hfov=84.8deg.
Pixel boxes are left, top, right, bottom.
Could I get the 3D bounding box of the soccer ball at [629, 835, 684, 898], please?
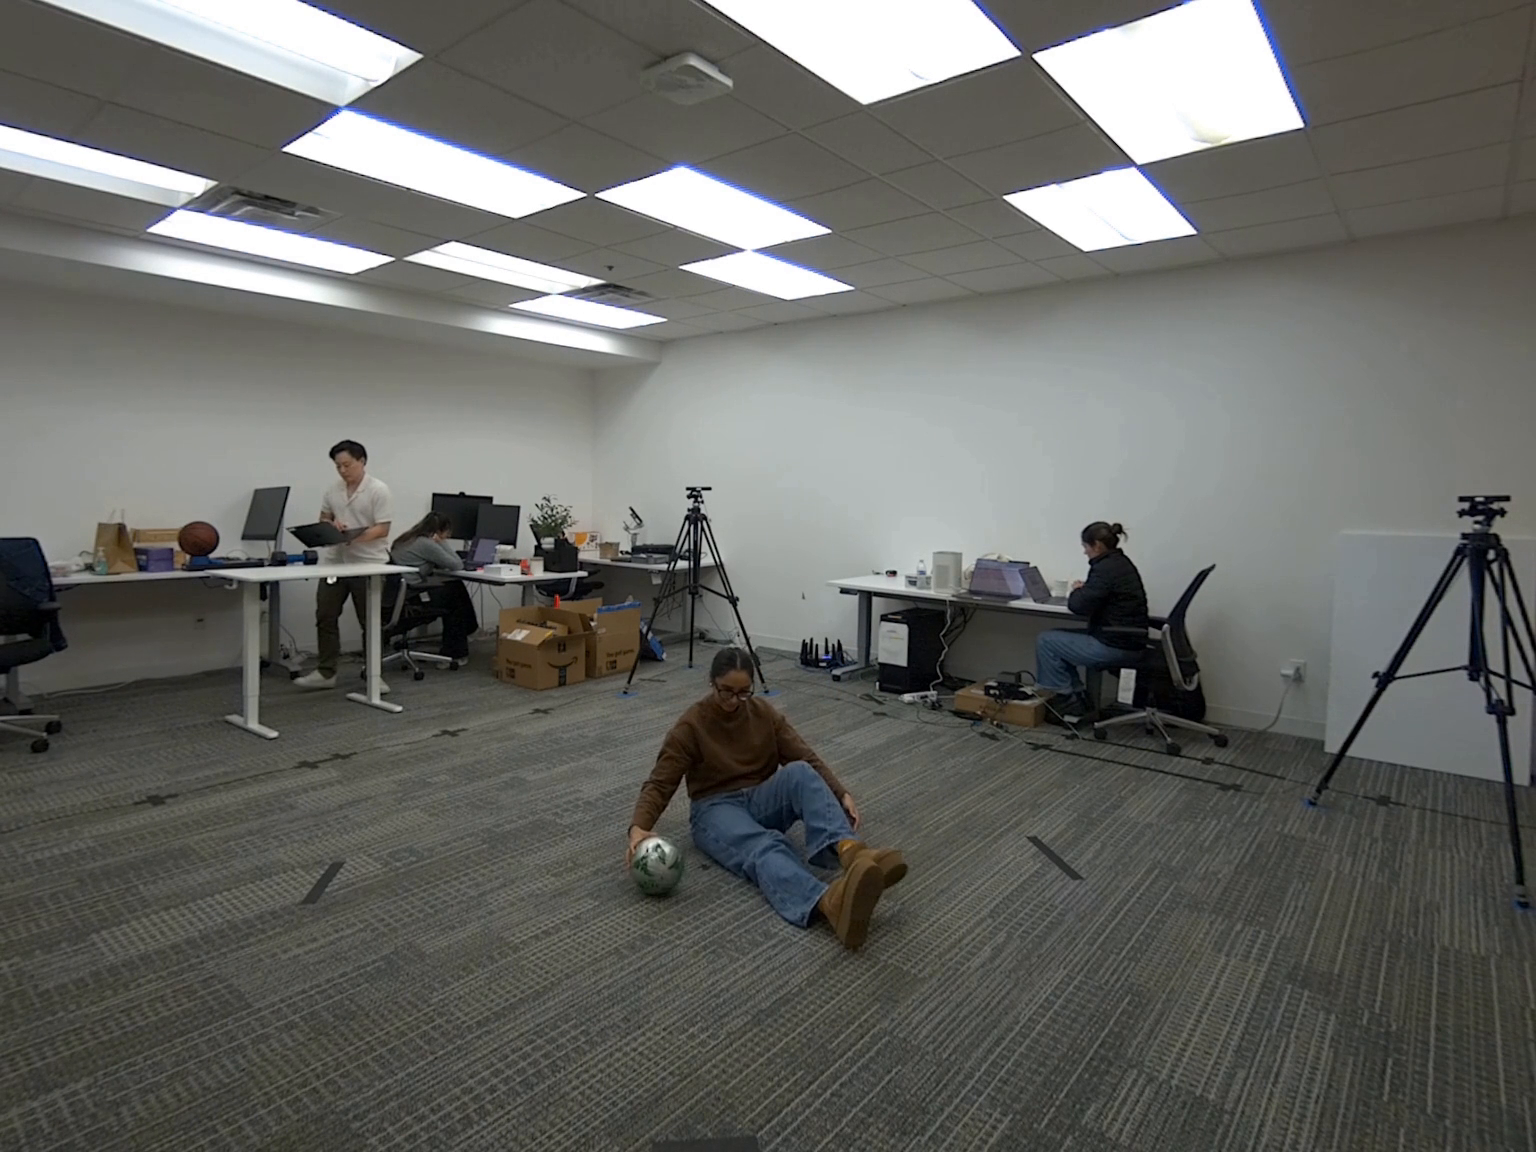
[{"bbox_3d":[-0.389,0.974,2.912,0.187,0.187,0.188,1,4,-2],"label":"soccer ball"}]
